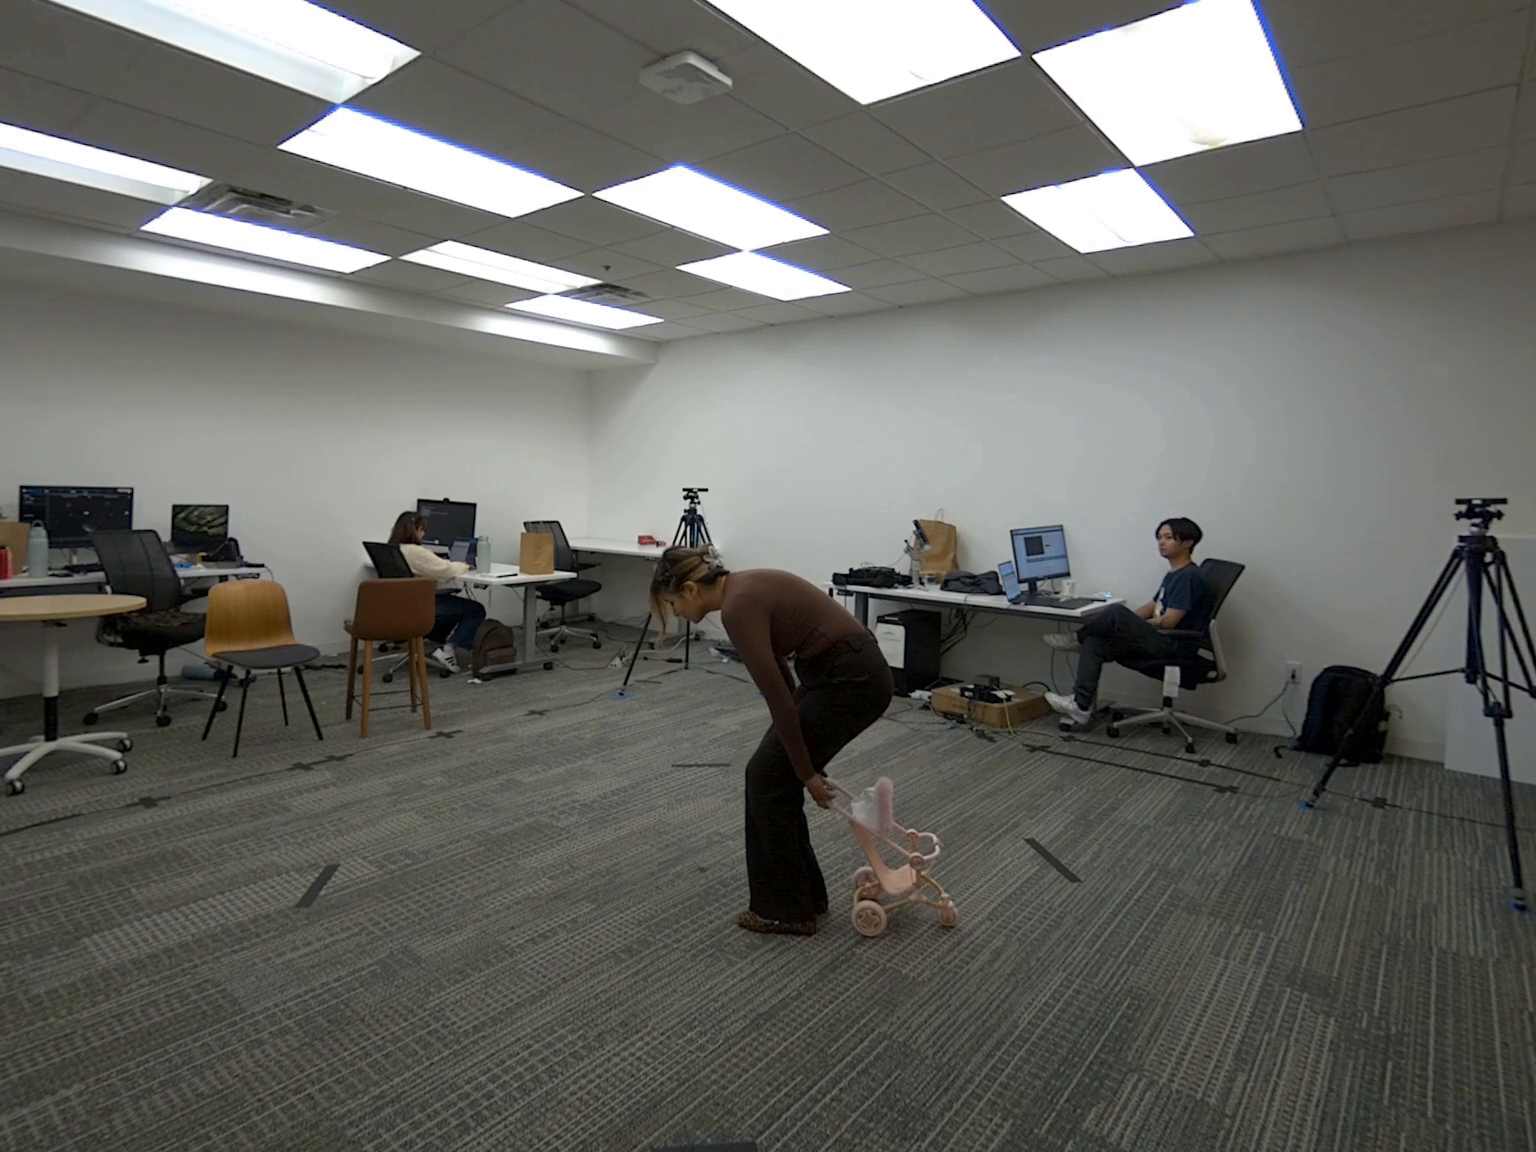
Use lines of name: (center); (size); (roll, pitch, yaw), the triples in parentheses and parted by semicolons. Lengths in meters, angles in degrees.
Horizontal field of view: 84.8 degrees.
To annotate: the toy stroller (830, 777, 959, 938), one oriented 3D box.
toy stroller: (0.392, 0.900, 2.759); (0.345, 0.535, 0.278); (-15, 0, 13)
